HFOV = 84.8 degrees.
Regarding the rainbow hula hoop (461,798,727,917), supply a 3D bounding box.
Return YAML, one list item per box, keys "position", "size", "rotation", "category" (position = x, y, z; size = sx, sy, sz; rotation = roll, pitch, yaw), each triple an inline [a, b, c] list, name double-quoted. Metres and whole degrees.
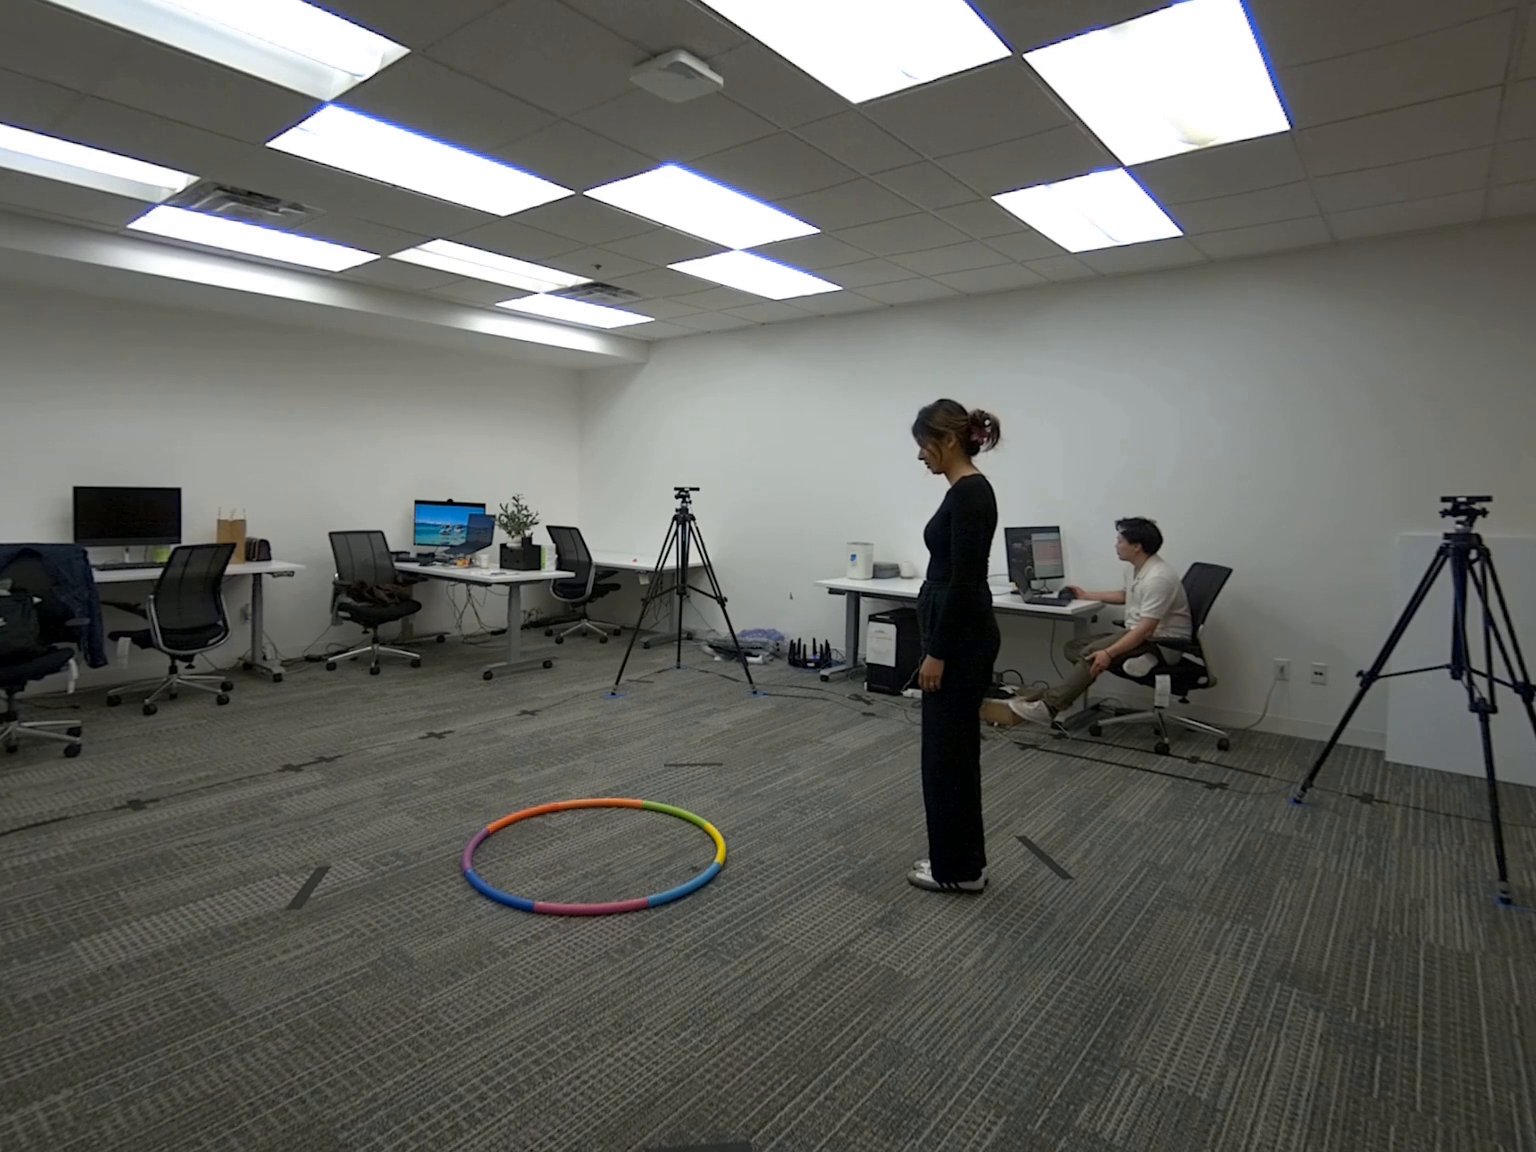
- position: [-0.655, 1.017, 3.222]
  size: [0.978, 0.035, 0.984]
  rotation: [1, 6, -2]
  category: "rainbow hula hoop"
